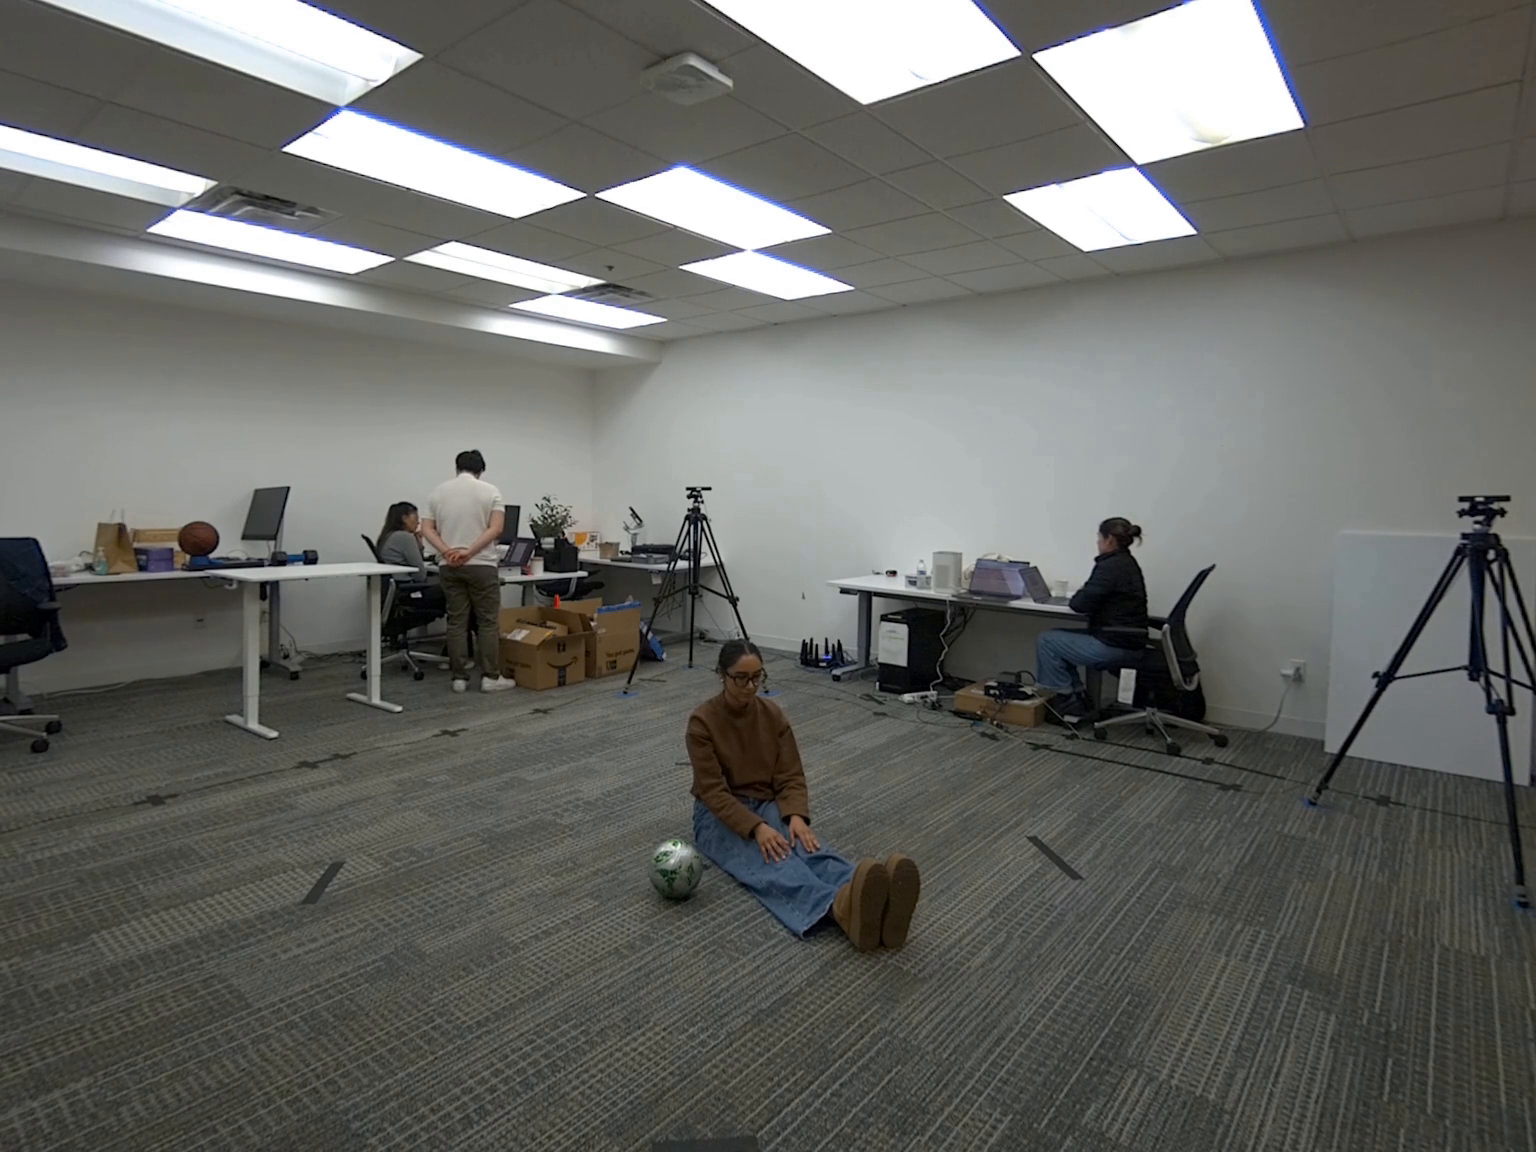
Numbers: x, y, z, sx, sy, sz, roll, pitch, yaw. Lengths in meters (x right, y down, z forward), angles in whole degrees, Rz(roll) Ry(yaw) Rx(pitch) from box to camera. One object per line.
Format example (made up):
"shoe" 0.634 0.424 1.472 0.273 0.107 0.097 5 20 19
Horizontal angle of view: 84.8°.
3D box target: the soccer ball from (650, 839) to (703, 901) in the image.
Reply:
"soccer ball" -0.324 0.995 2.889 0.187 0.187 0.188 1 4 -2
